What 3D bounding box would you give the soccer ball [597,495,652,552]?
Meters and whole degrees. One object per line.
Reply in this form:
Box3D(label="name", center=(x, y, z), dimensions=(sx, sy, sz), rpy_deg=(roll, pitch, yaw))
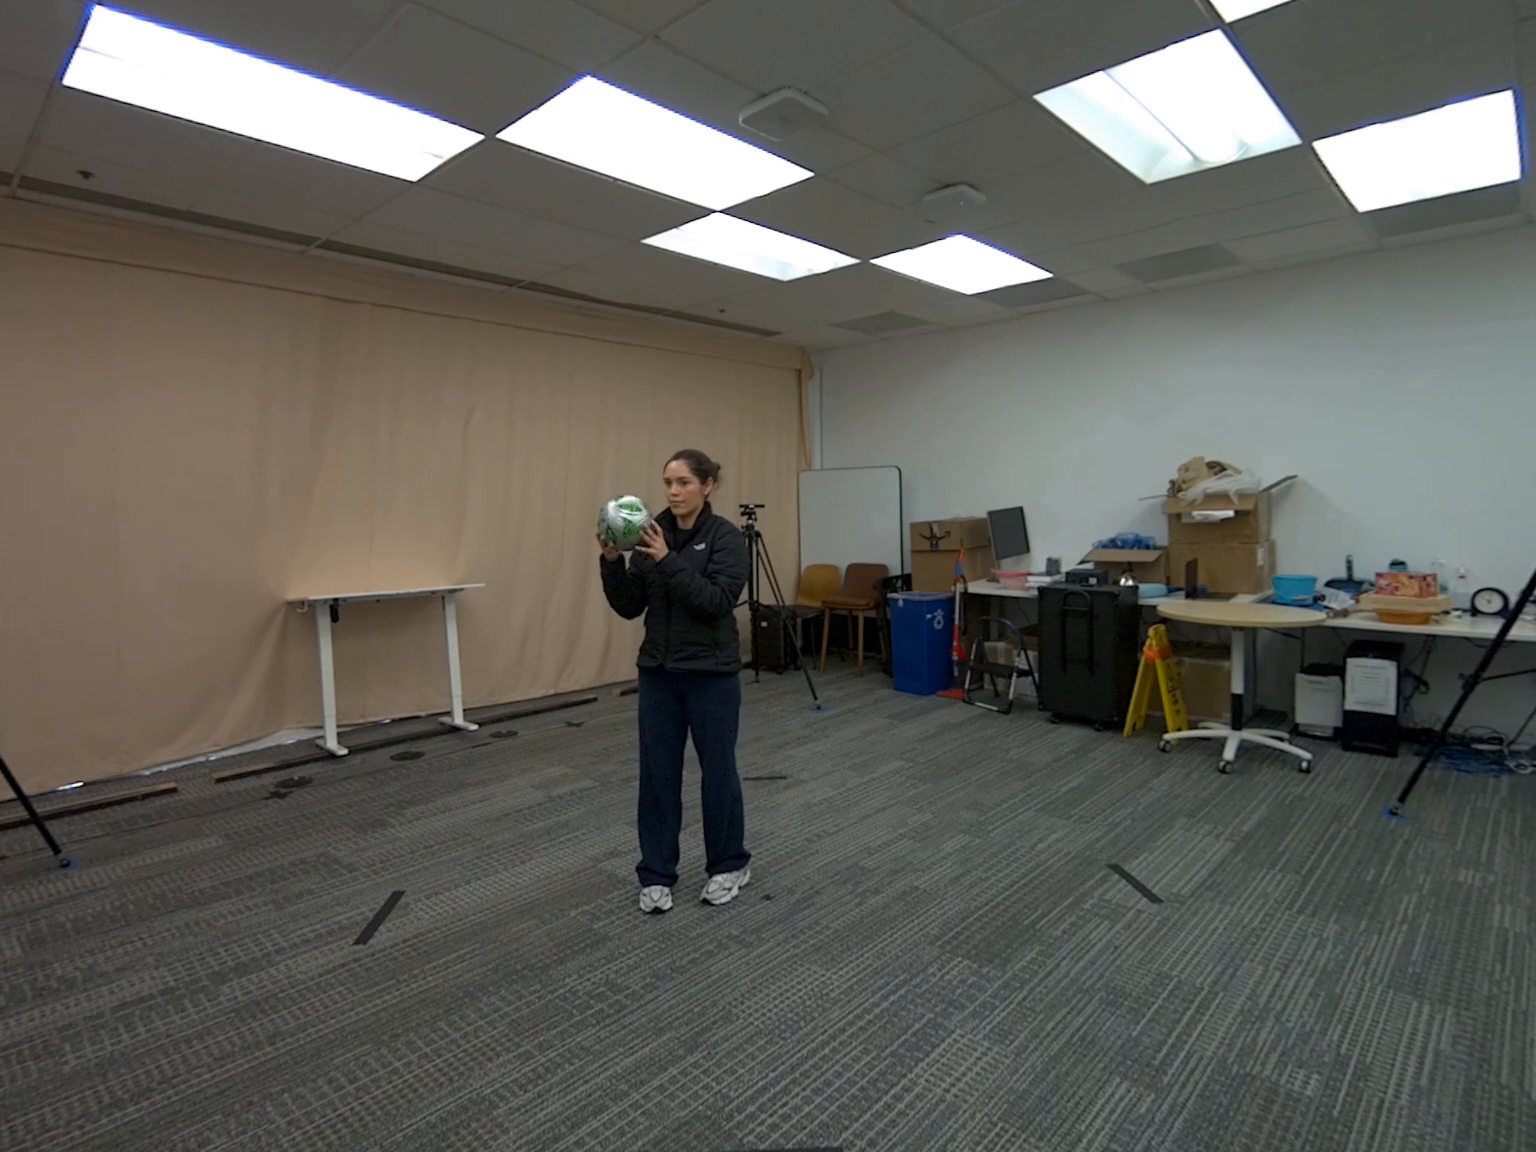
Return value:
Box3D(label="soccer ball", center=(-0.469, -0.164, 2.787), dimensions=(0.187, 0.187, 0.188), rpy_deg=(-1, 4, -2))
